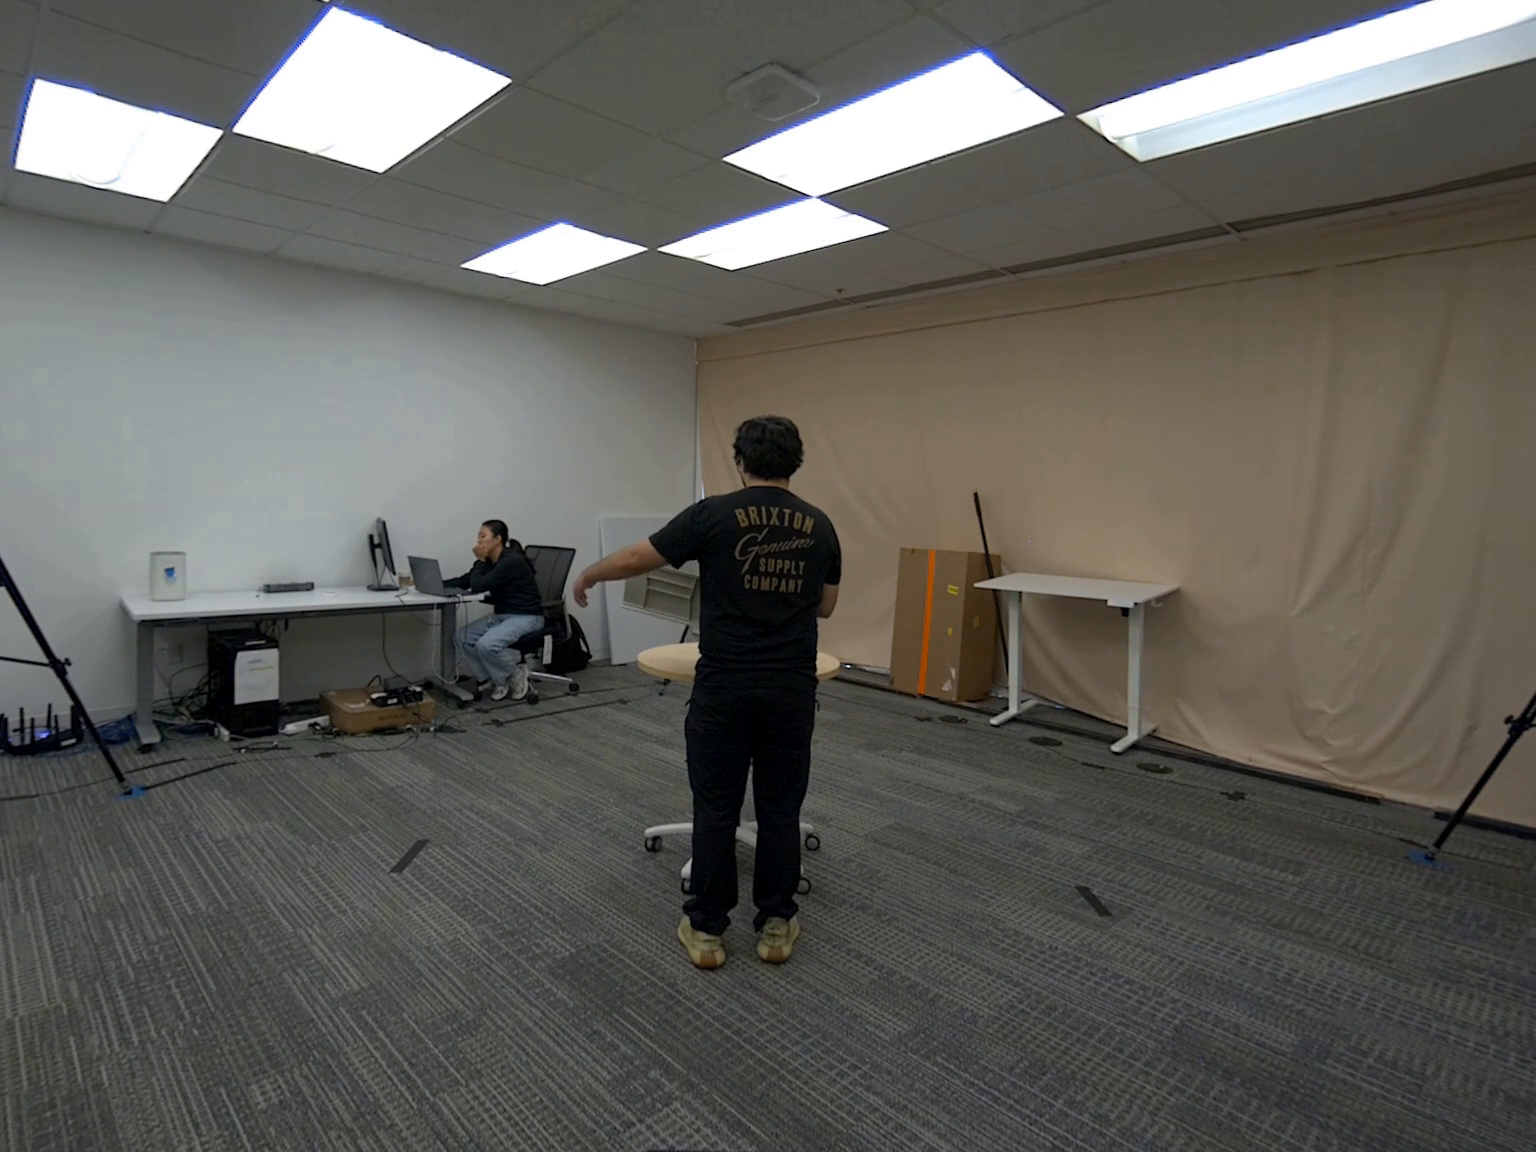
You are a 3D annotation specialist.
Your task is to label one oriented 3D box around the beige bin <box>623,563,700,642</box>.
[{"bbox_3d":[-0.257,0.015,2.941,0.382,0.187,0.421,11,16,14],"label":"beige bin"}]
